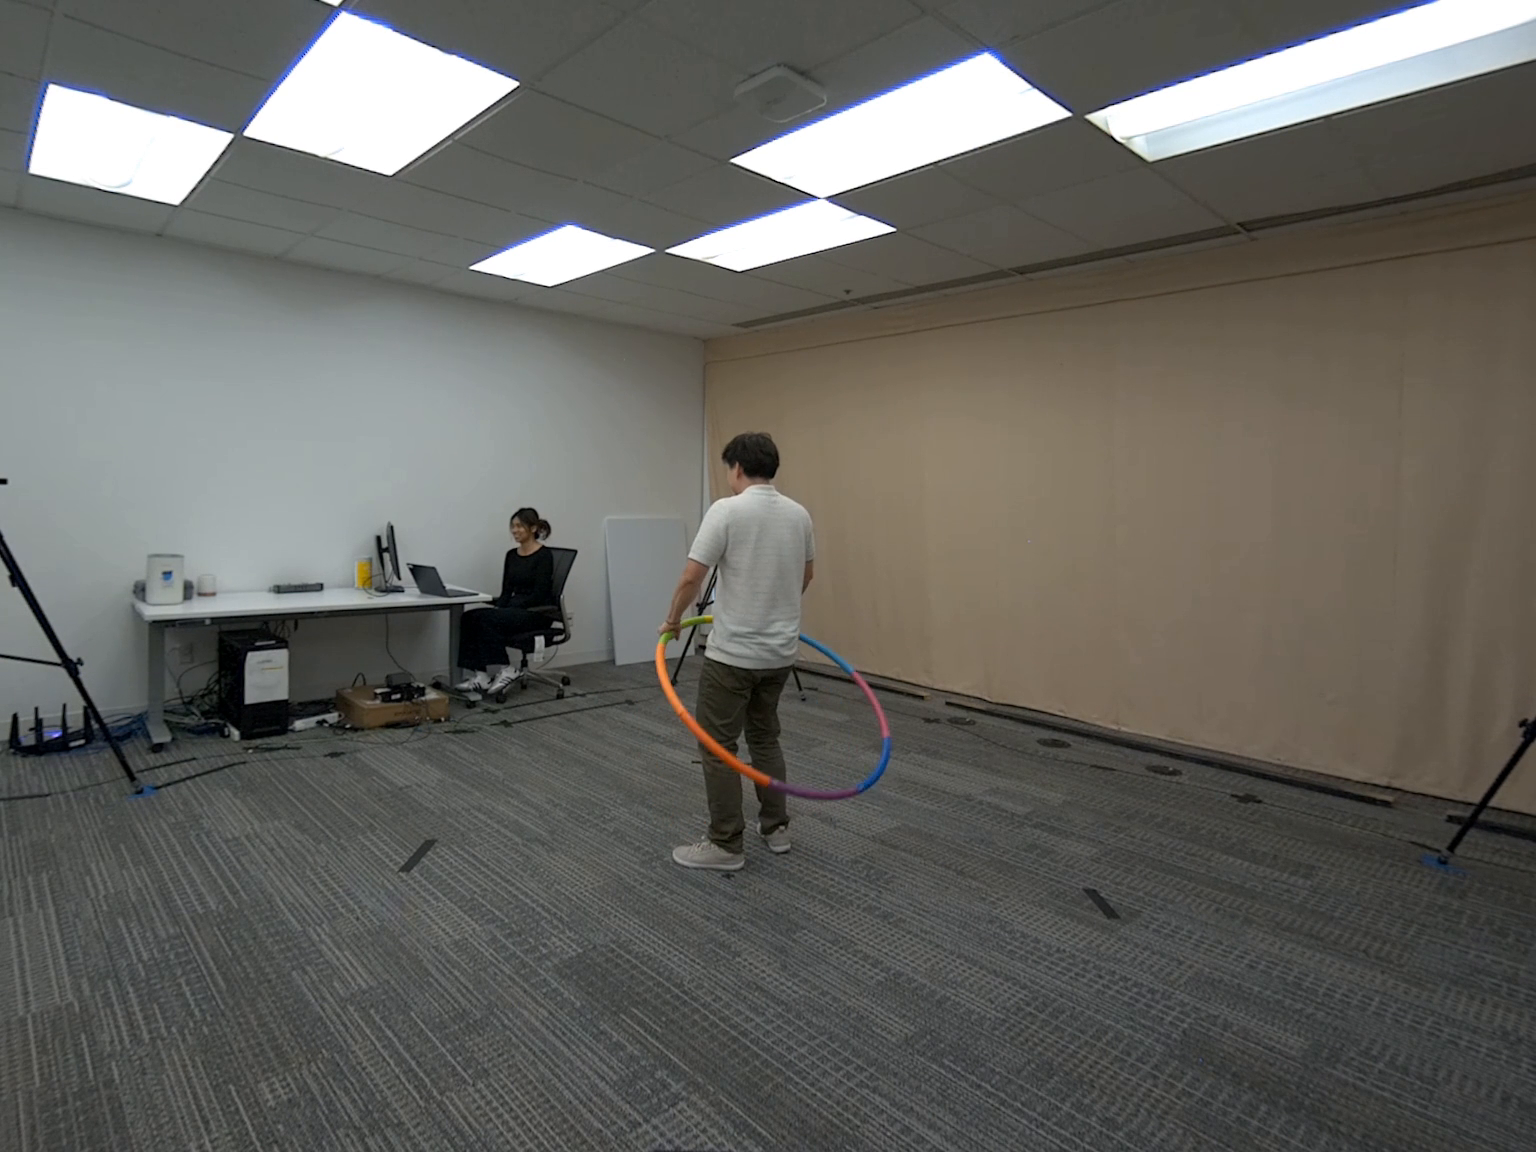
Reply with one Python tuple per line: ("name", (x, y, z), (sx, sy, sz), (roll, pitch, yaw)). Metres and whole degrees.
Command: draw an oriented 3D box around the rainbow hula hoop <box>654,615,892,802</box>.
("rainbow hula hoop", (0.018, 0.440, 3.233), (0.967, 0.035, 0.998), (20, 28, -13))
